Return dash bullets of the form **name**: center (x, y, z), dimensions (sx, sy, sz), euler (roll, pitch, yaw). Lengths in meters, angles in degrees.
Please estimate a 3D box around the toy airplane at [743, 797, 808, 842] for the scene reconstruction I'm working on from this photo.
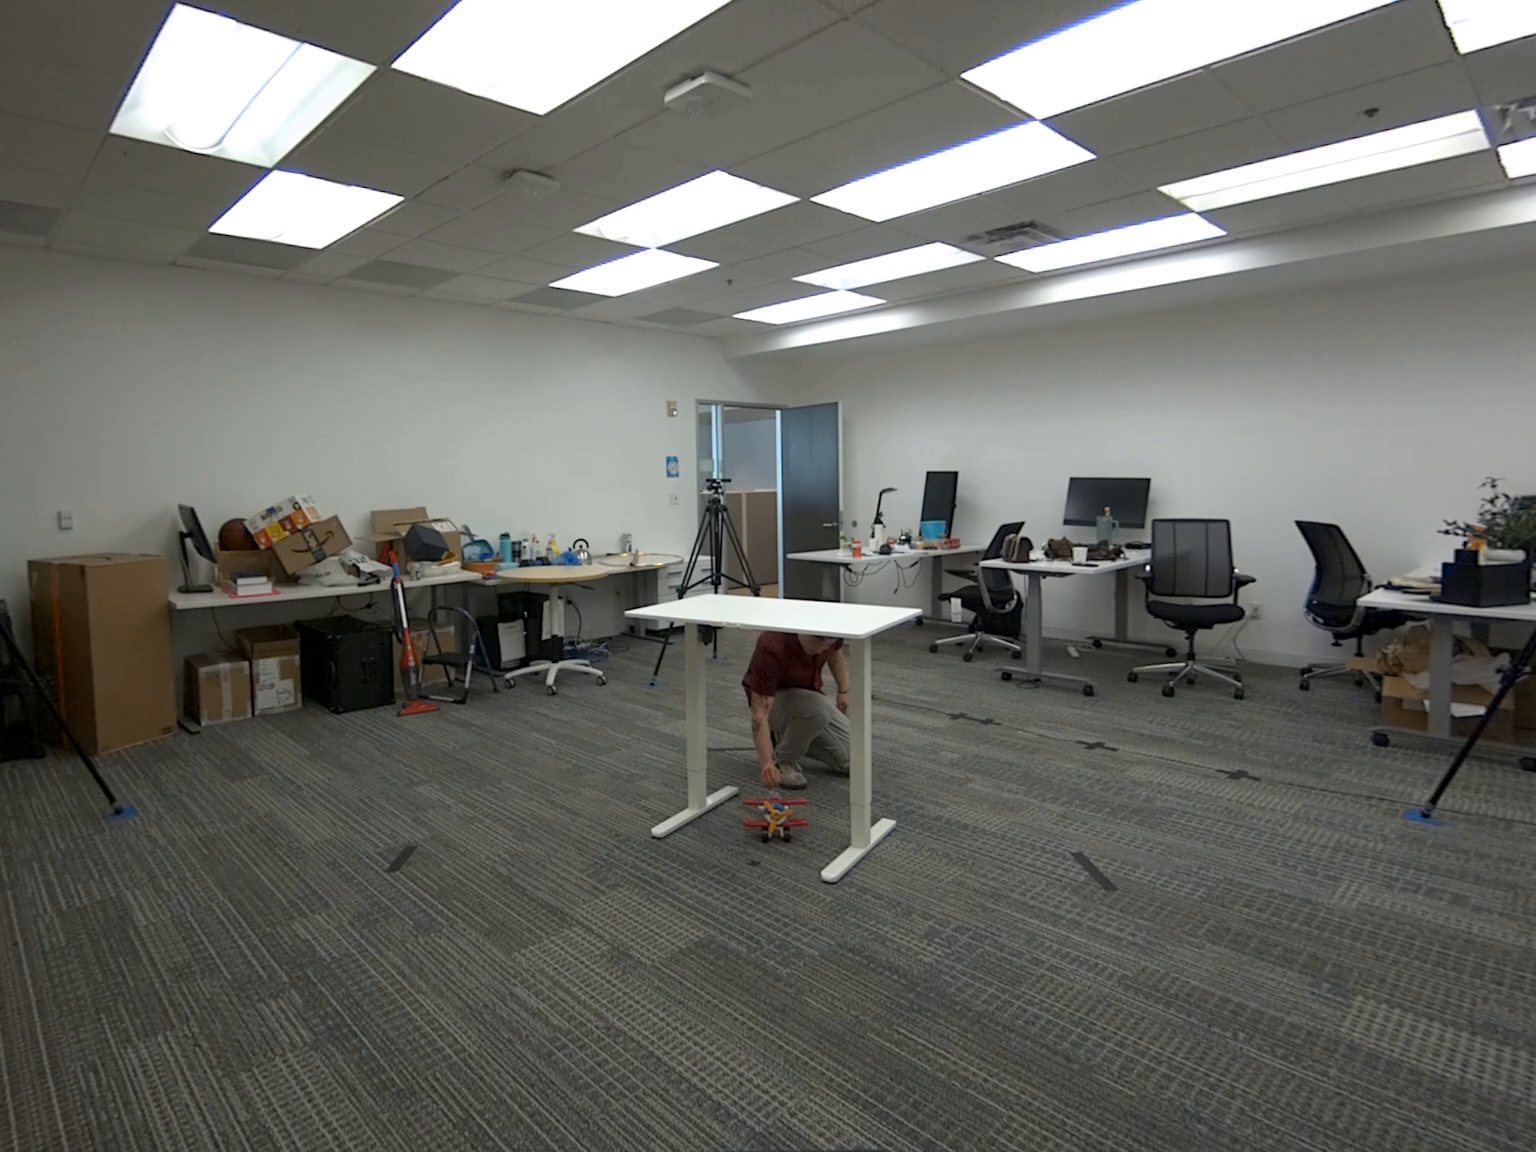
- **toy airplane**: center (0.006, 0.945, 3.374), dimensions (0.246, 0.156, 0.266), euler (-4, 7, -27)
